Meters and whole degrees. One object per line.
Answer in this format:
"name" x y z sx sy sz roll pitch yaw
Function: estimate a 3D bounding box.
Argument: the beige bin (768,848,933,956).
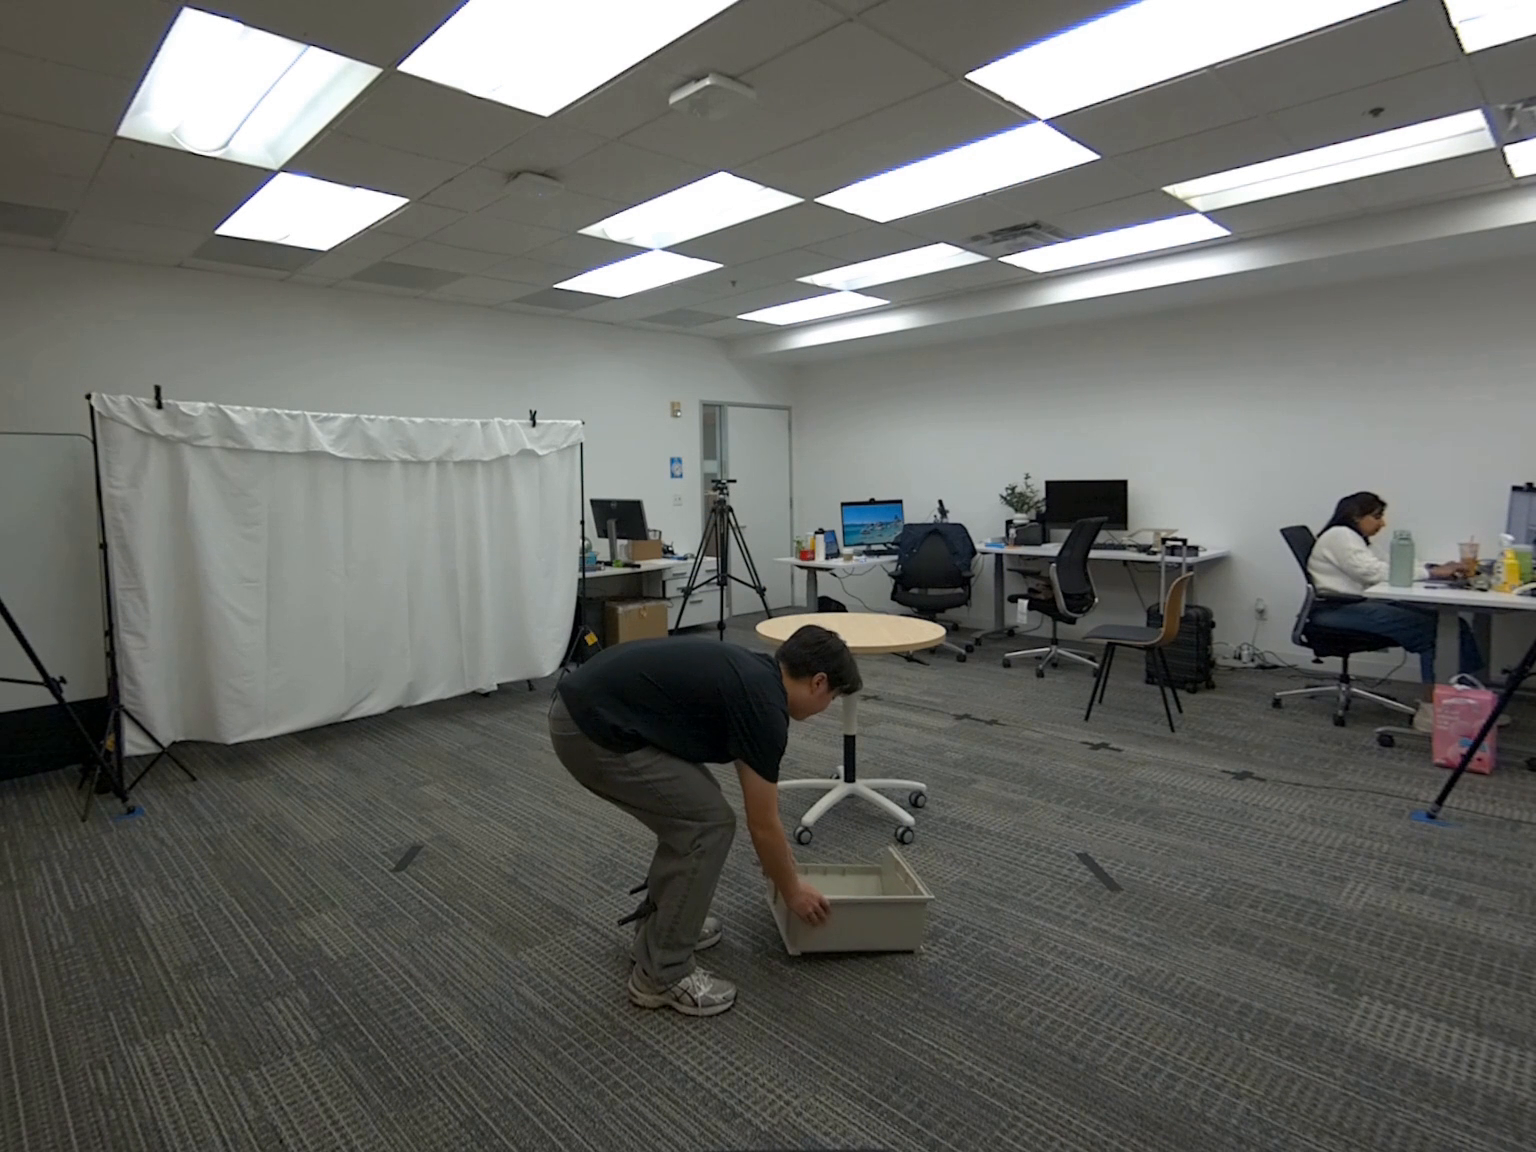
"beige bin" 0.237 0.981 2.627 0.417 0.188 0.384 4 8 -12
